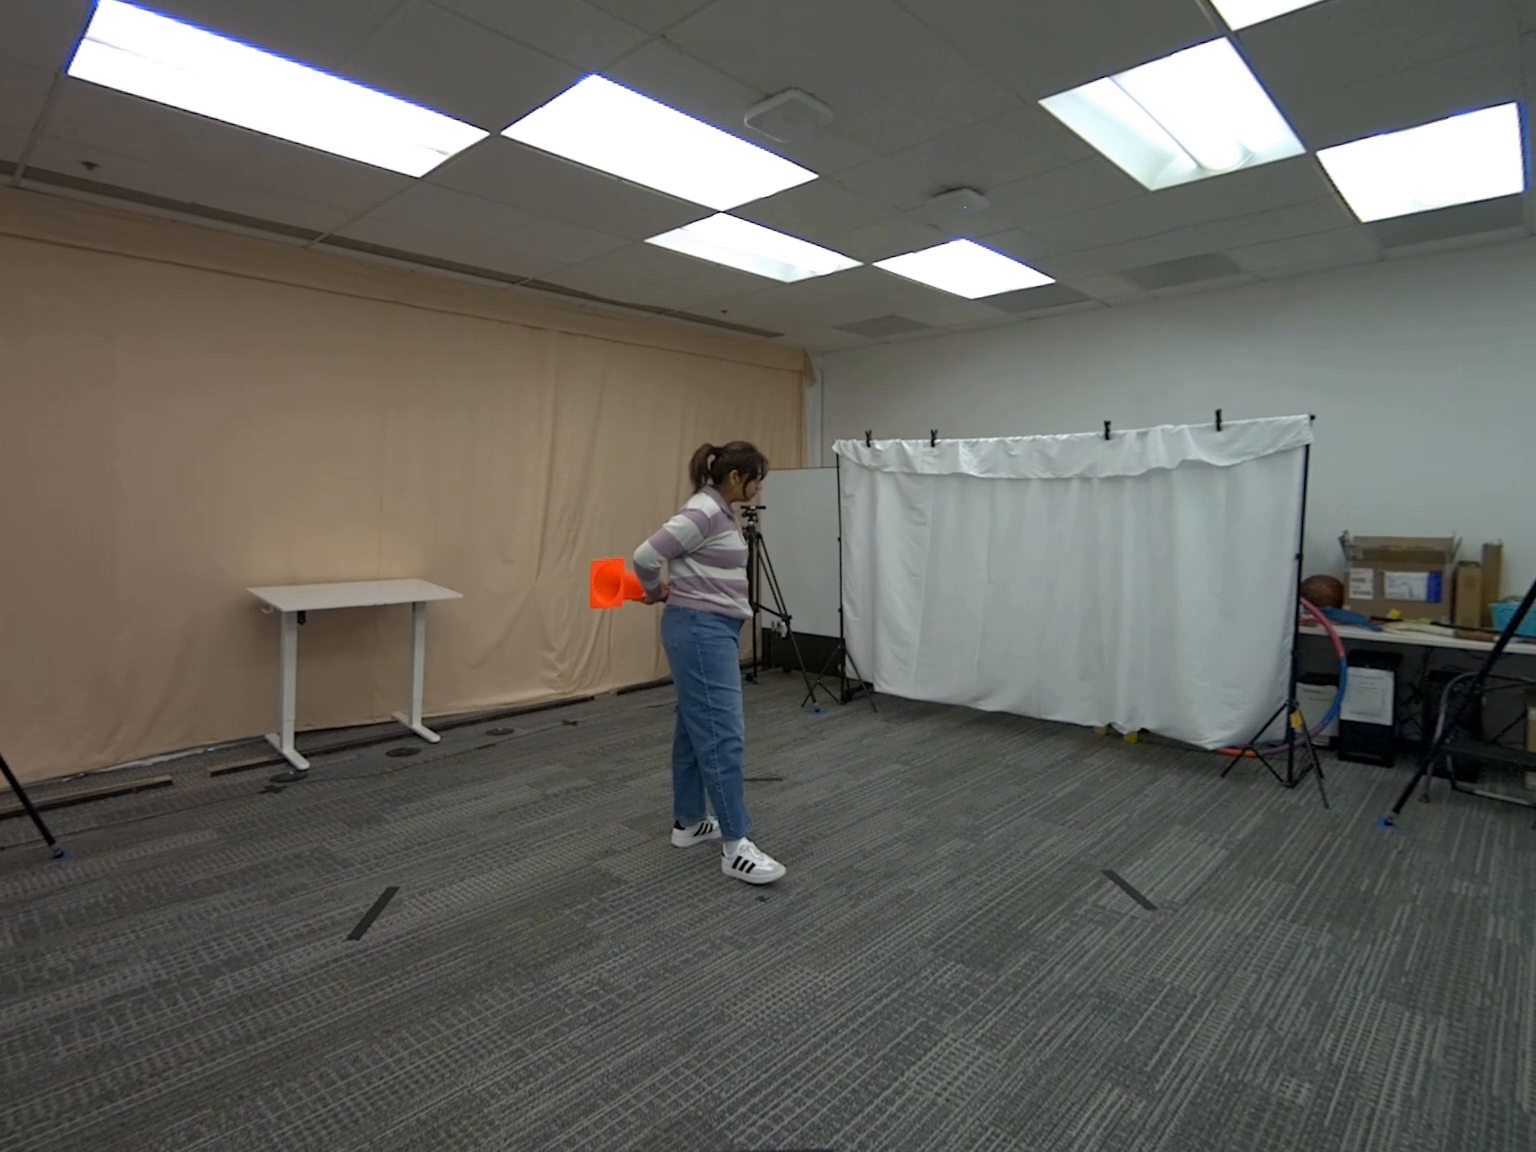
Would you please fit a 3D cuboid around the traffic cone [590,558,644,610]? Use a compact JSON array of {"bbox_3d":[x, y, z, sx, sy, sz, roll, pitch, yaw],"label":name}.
[{"bbox_3d":[-0.530,0.054,3.502,0.209,0.206,0.371,-6,-9,38],"label":"traffic cone"}]
